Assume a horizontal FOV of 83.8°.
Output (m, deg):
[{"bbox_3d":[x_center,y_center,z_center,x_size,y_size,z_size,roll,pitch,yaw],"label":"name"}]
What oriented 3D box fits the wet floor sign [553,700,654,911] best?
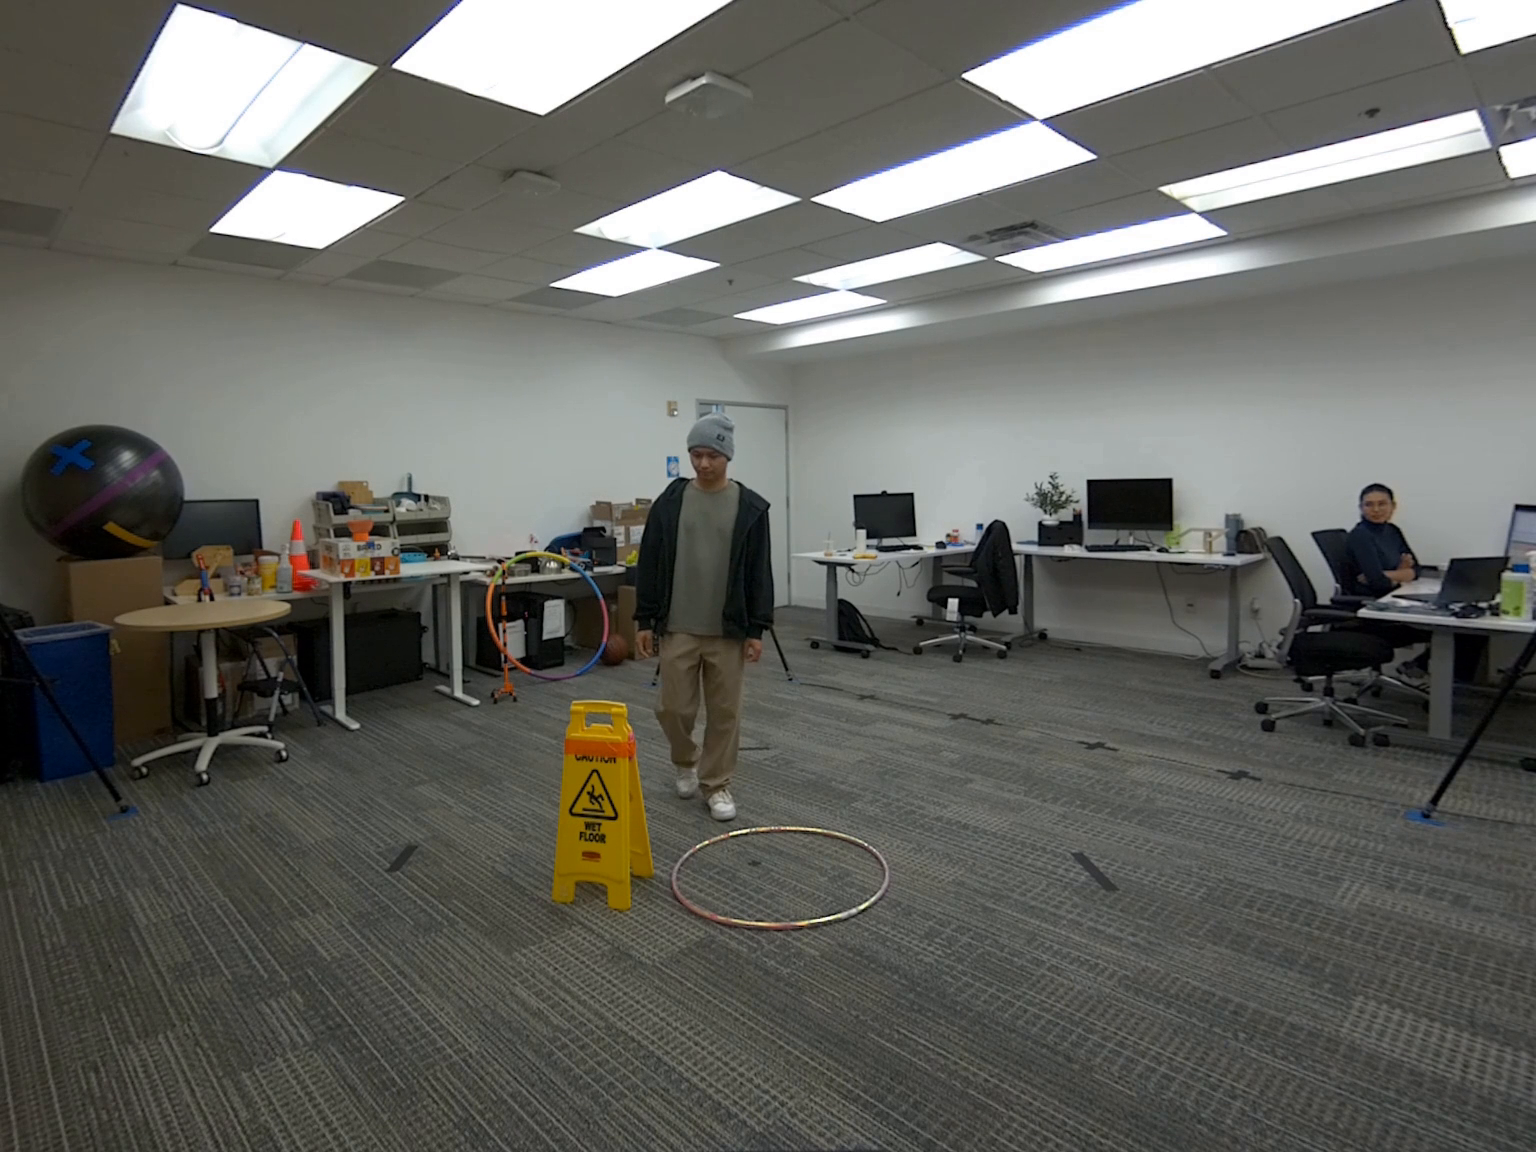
[{"bbox_3d":[-0.566,0.755,2.913,0.286,0.644,0.287,1,4,13],"label":"wet floor sign"}]
